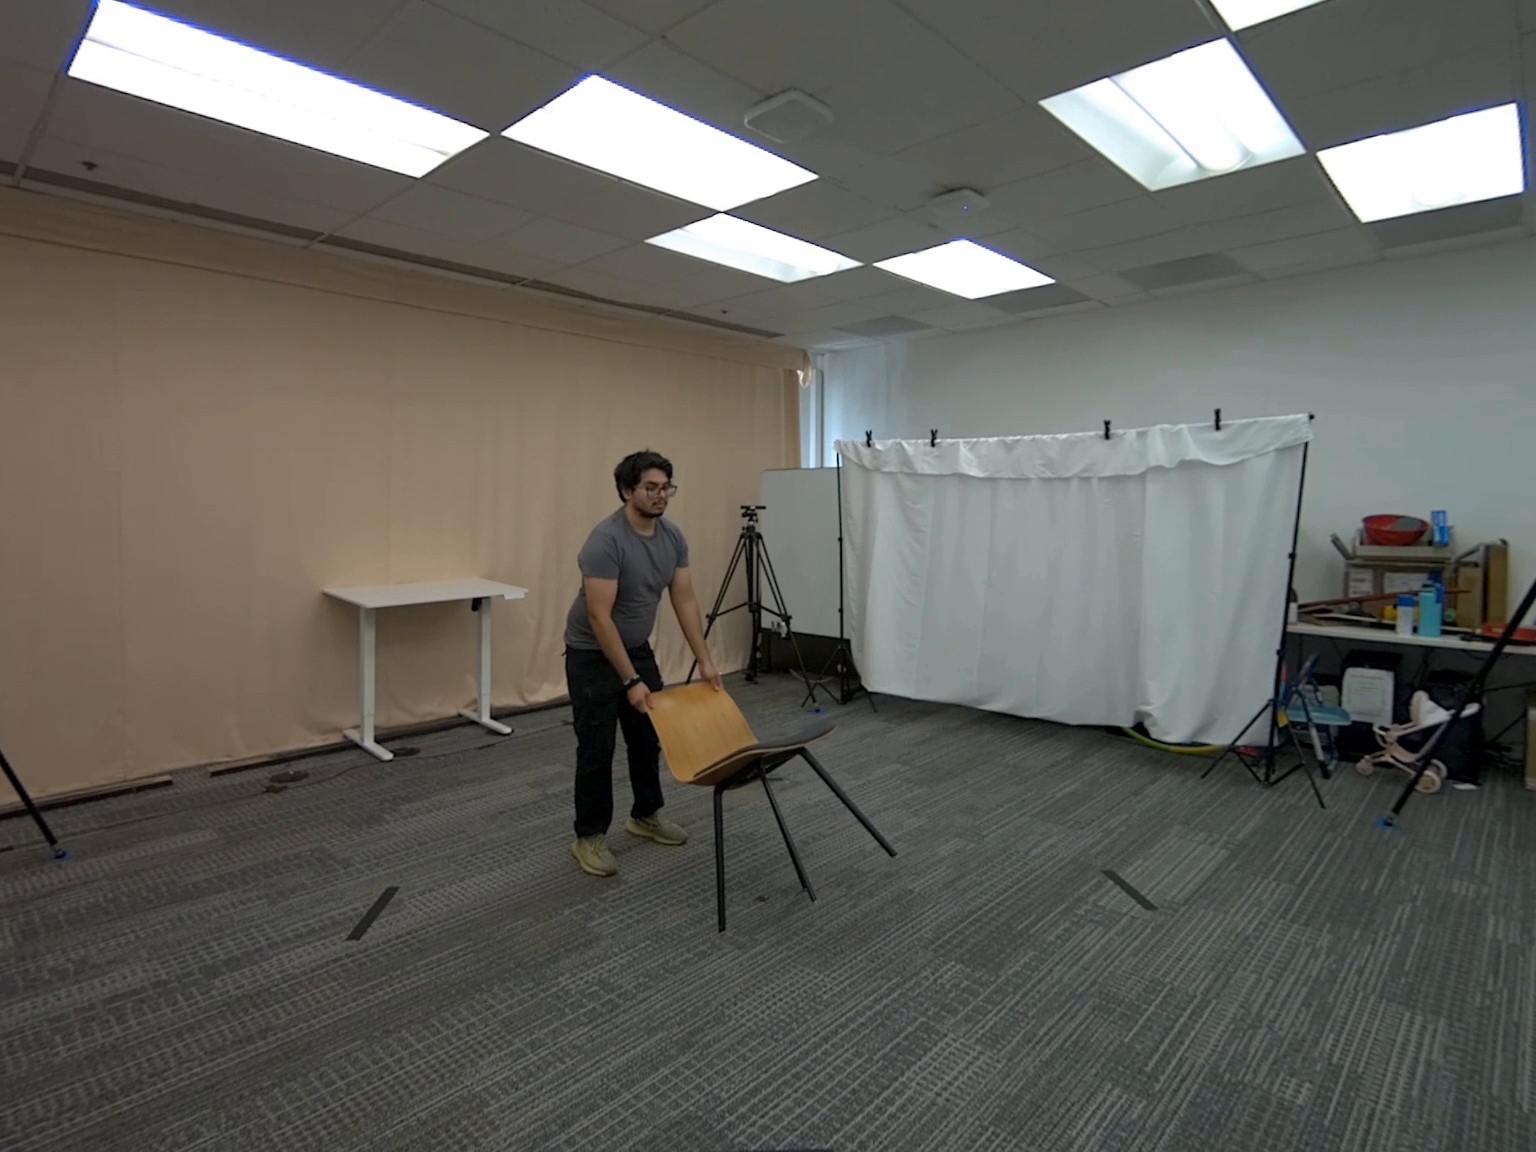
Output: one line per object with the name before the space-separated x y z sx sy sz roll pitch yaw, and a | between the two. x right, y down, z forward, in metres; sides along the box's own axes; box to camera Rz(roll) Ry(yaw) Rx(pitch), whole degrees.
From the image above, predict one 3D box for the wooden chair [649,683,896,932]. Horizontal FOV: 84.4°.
wooden chair | -0.023 0.665 2.883 0.463 0.896 0.528 -4 -31 -47
